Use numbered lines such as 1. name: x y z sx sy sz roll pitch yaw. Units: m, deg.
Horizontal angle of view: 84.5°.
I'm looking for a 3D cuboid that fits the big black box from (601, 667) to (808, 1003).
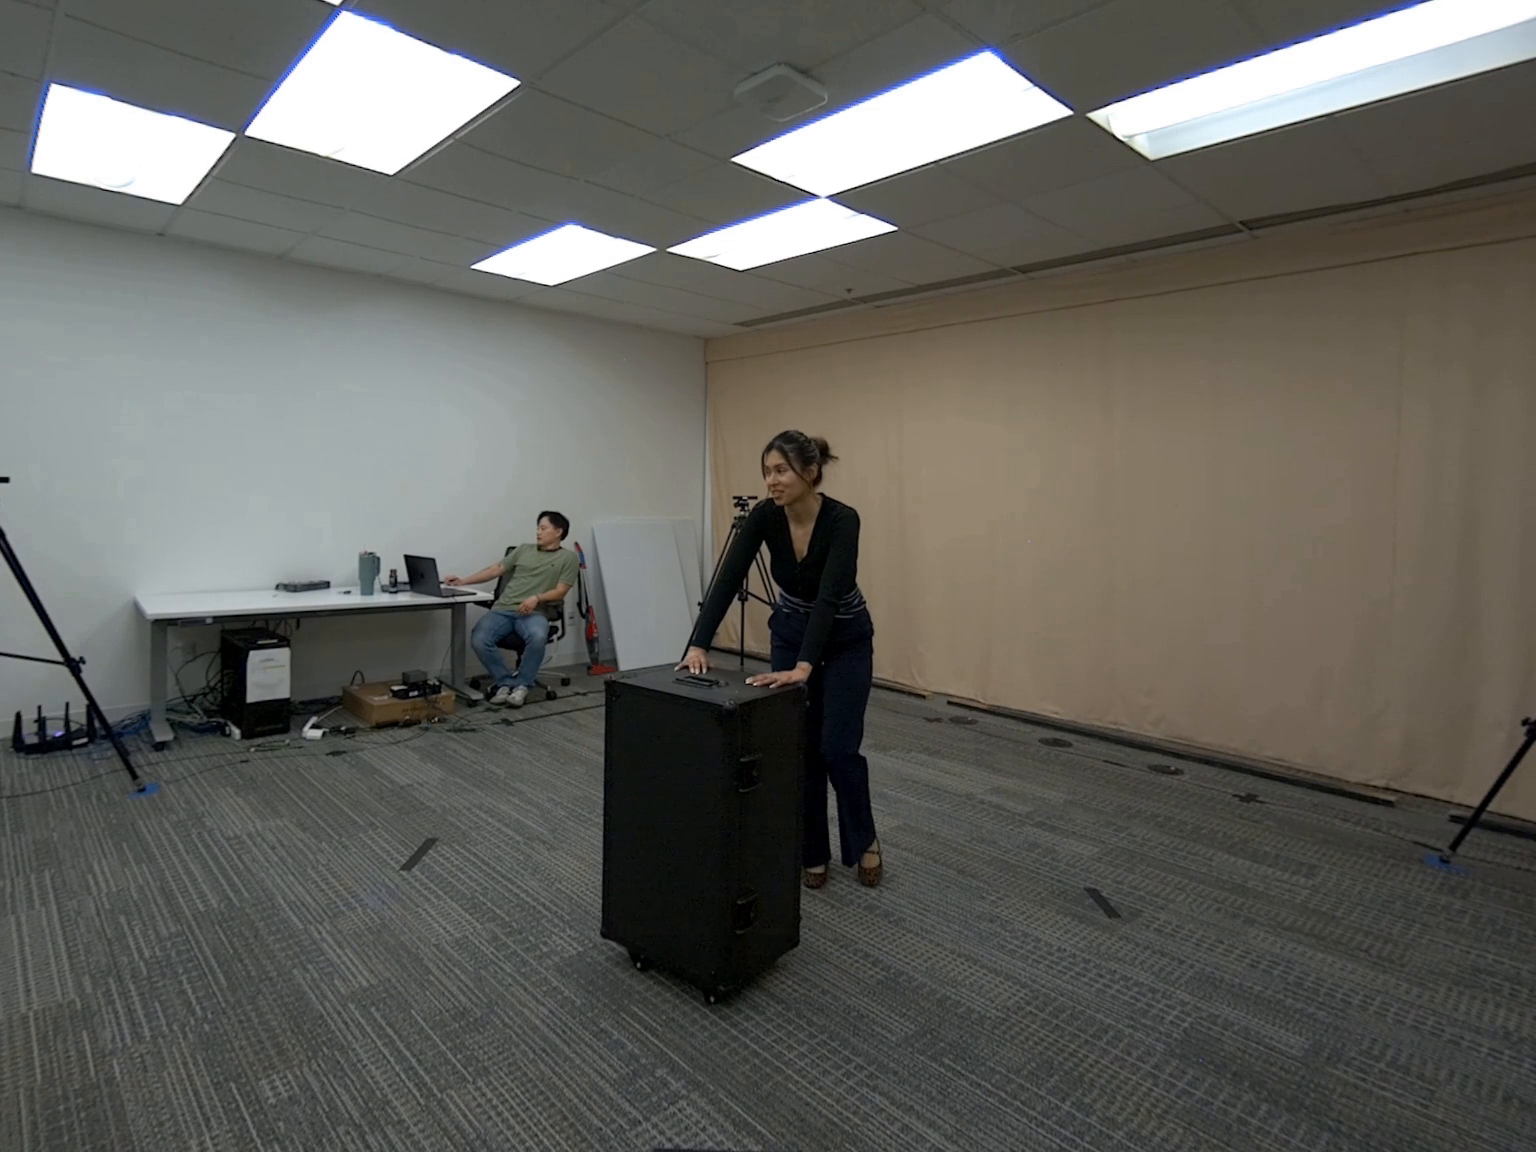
1. big black box: -0.197 0.731 2.490 0.534 0.860 0.387 4 3 37
